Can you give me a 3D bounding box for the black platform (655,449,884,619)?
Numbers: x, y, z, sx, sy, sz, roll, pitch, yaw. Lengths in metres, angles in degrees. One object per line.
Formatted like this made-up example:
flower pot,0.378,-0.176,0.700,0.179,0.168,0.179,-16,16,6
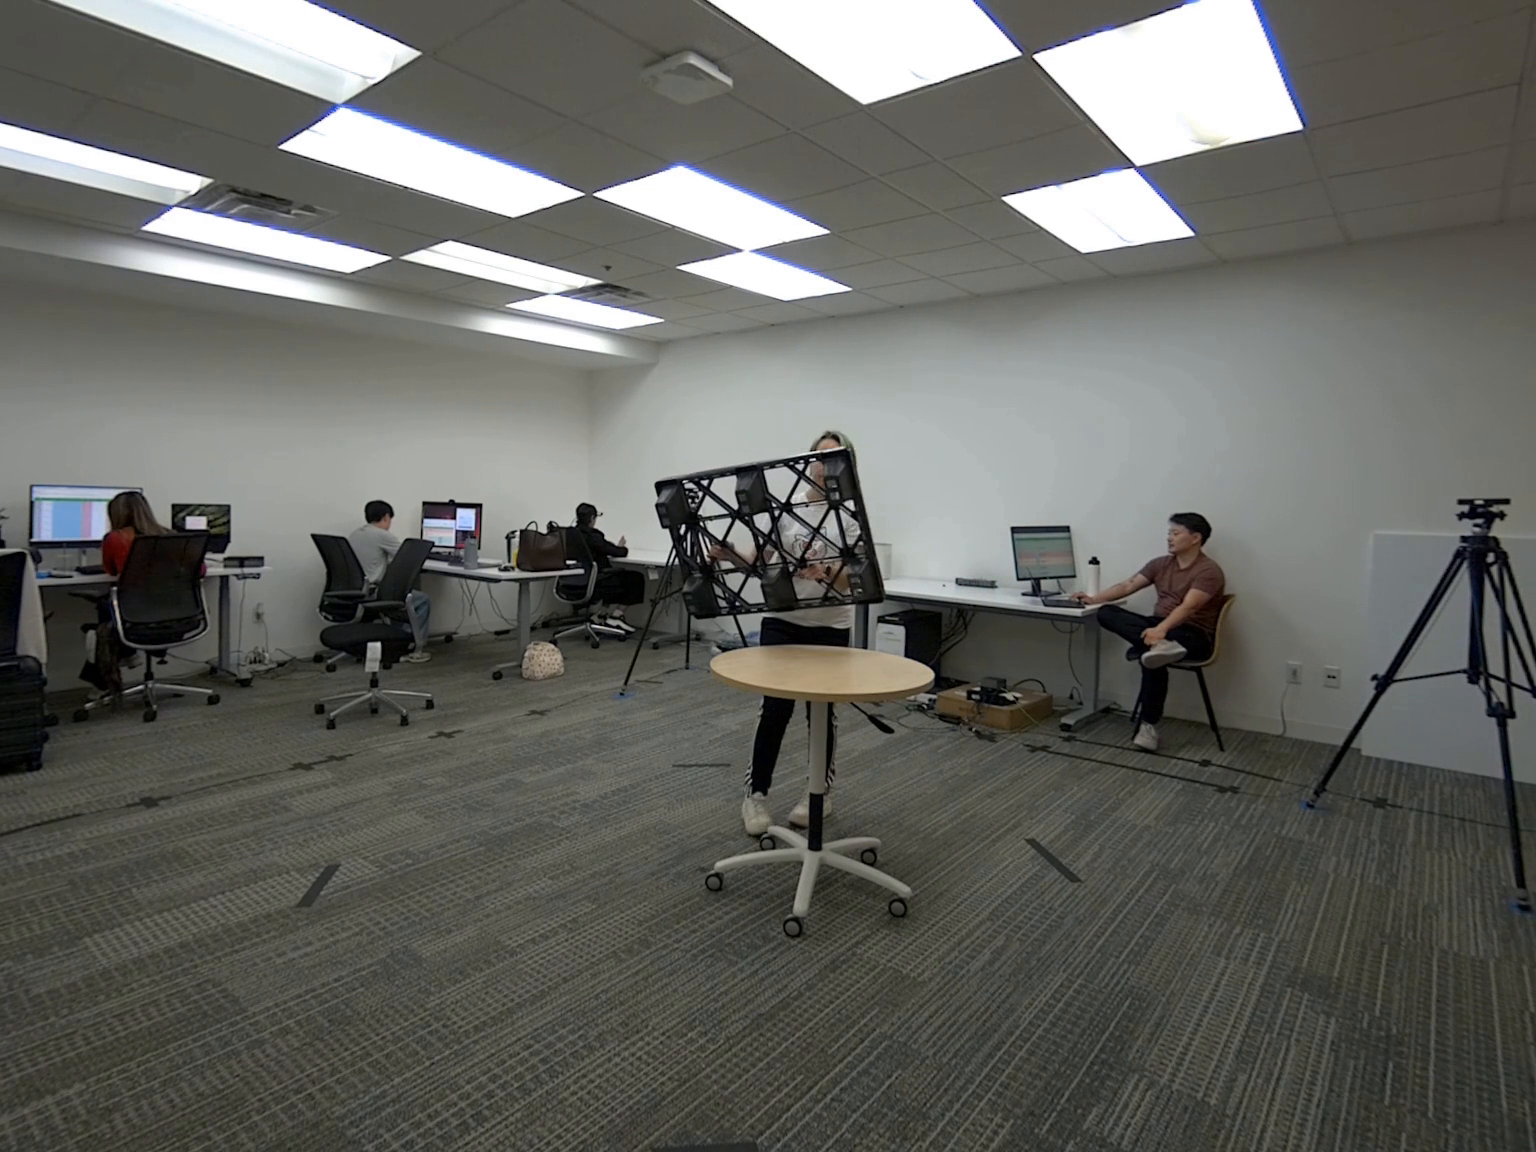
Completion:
black platform,-0.029,-0.120,3.194,0.823,0.594,0.143,-7,16,25
